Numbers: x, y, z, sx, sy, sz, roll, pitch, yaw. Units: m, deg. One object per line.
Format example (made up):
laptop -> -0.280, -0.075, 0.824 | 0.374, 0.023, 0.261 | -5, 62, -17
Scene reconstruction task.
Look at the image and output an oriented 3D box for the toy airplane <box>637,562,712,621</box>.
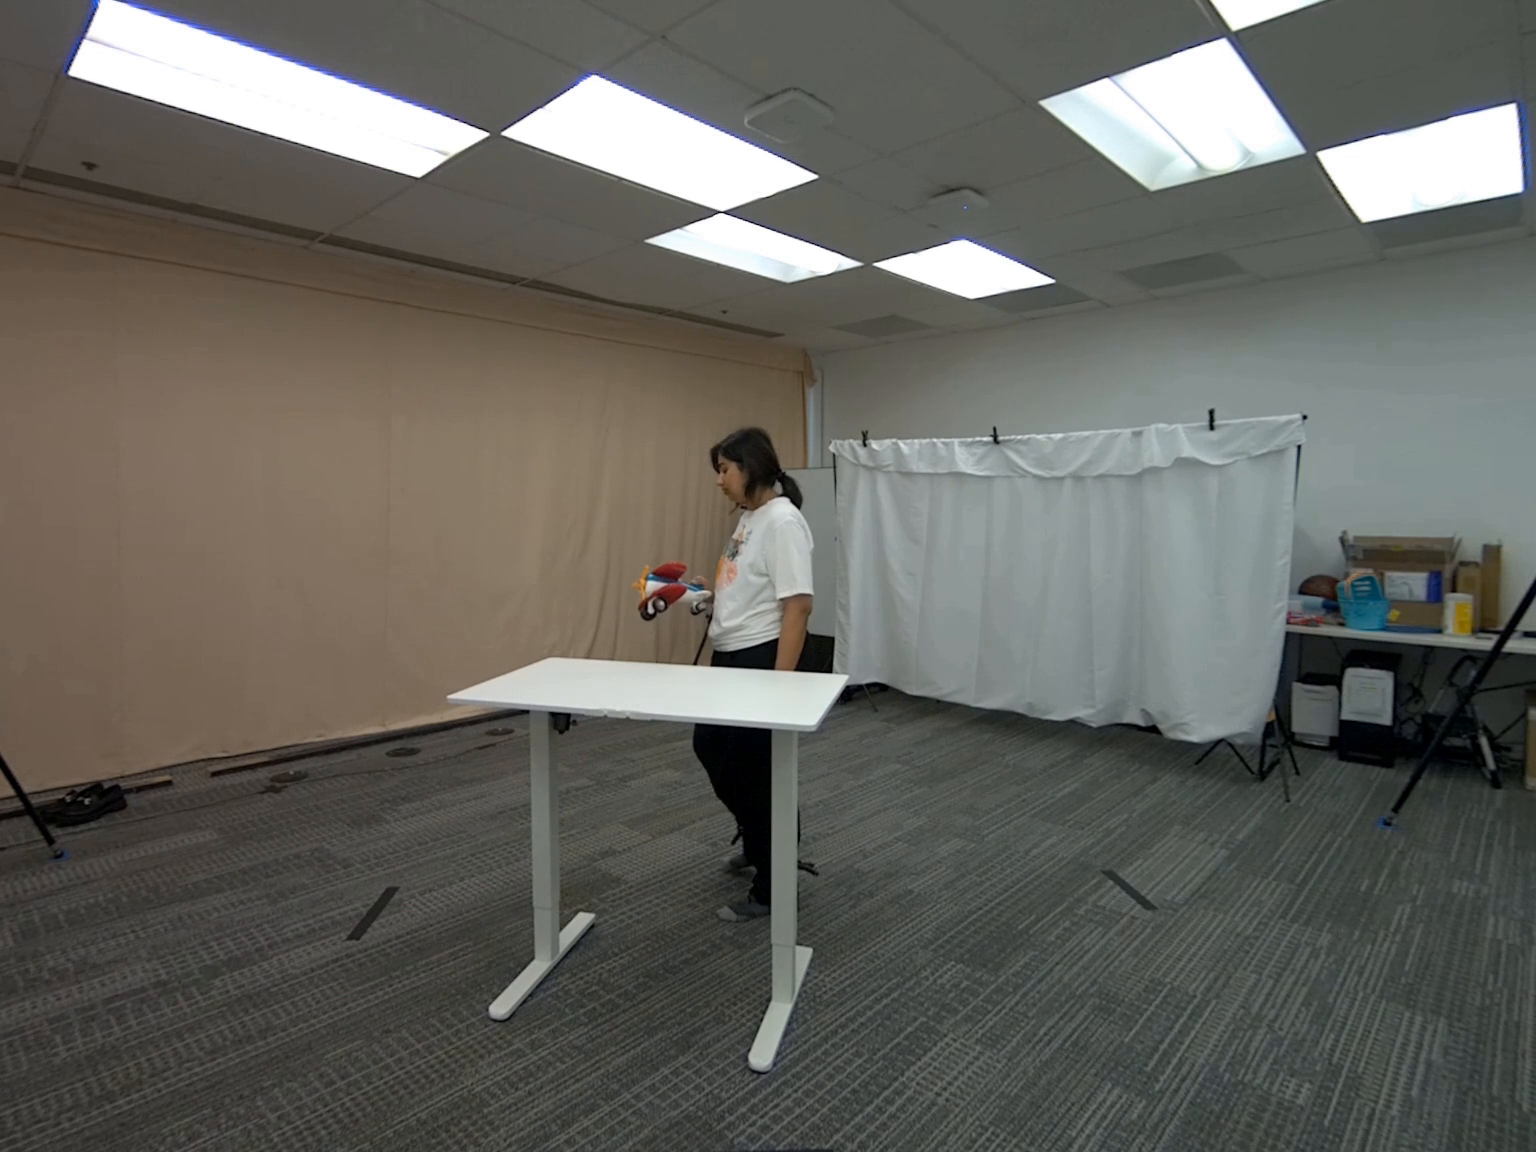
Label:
toy airplane -> -0.342, 0.067, 2.912 | 0.255, 0.159, 0.251 | -21, -17, 22
